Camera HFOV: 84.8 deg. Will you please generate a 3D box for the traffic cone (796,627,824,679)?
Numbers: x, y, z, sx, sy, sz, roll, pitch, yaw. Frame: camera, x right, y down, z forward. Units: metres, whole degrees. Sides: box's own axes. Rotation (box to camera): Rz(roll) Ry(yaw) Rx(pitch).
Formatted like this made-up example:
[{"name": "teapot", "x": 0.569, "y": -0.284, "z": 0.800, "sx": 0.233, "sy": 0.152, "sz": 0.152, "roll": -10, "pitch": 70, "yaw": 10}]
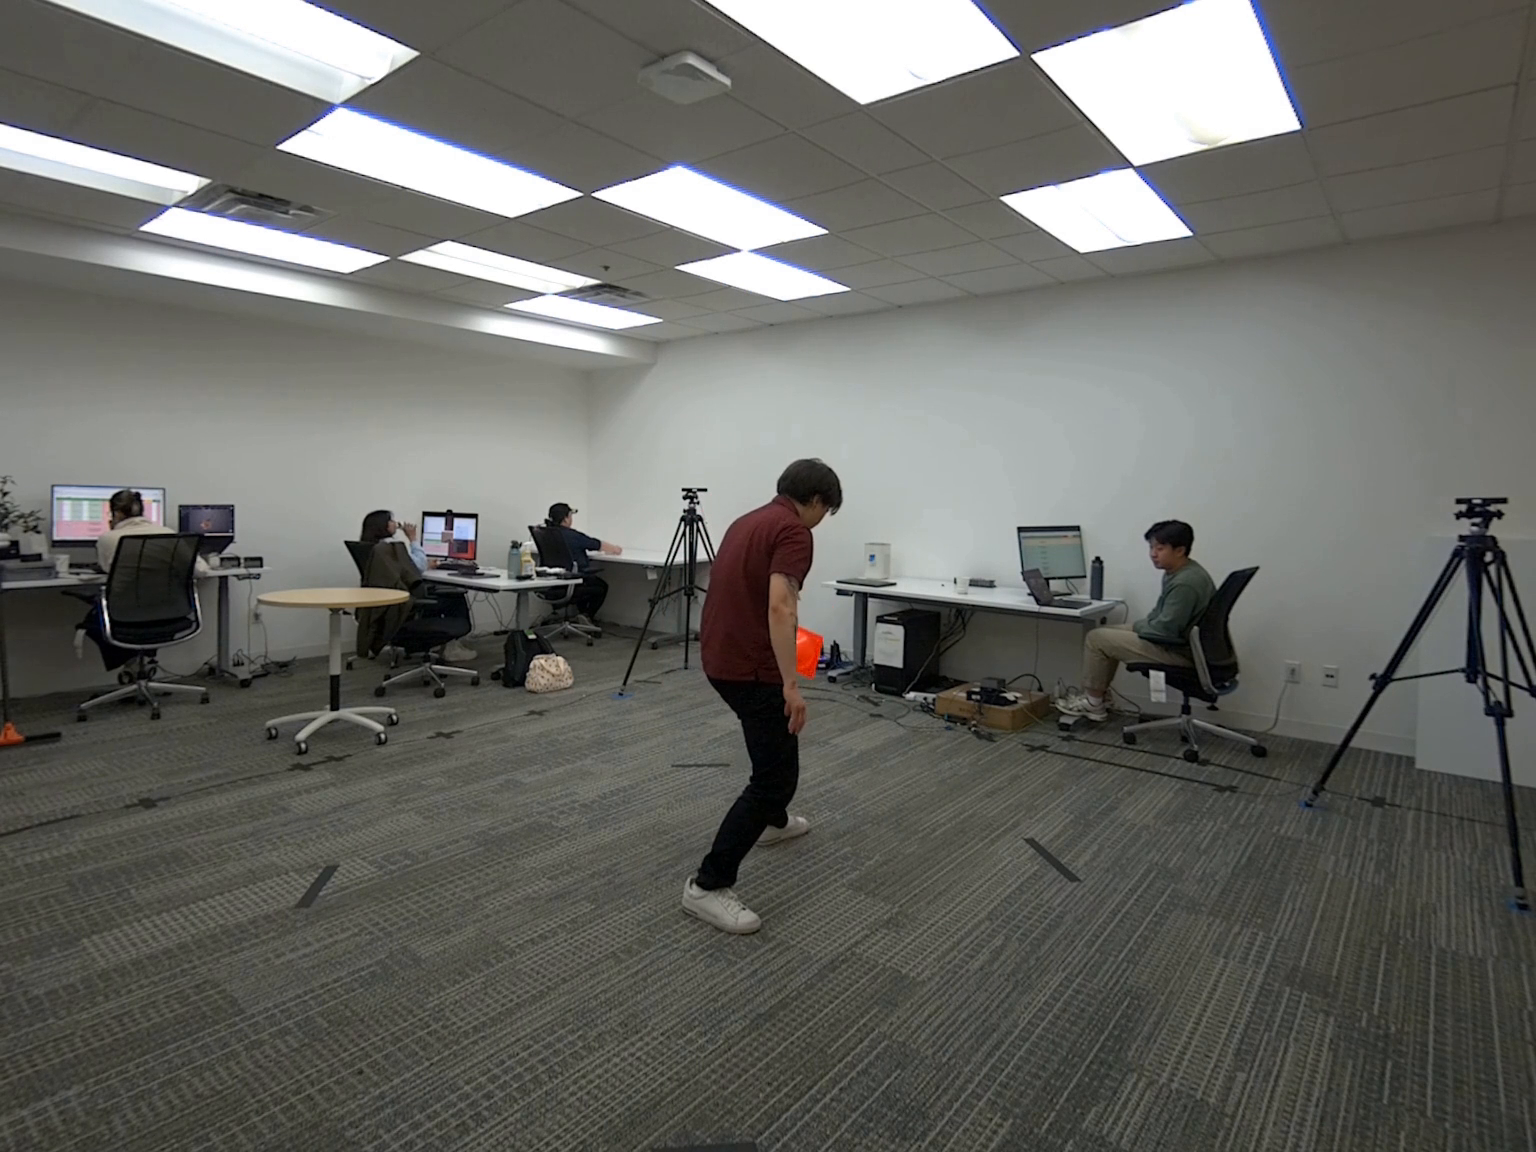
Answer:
[{"name": "traffic cone", "x": 0.026, "y": 0.341, "z": 3.526, "sx": 0.212, "sy": 0.201, "sz": 0.374, "roll": 21, "pitch": 17, "yaw": 30}]
